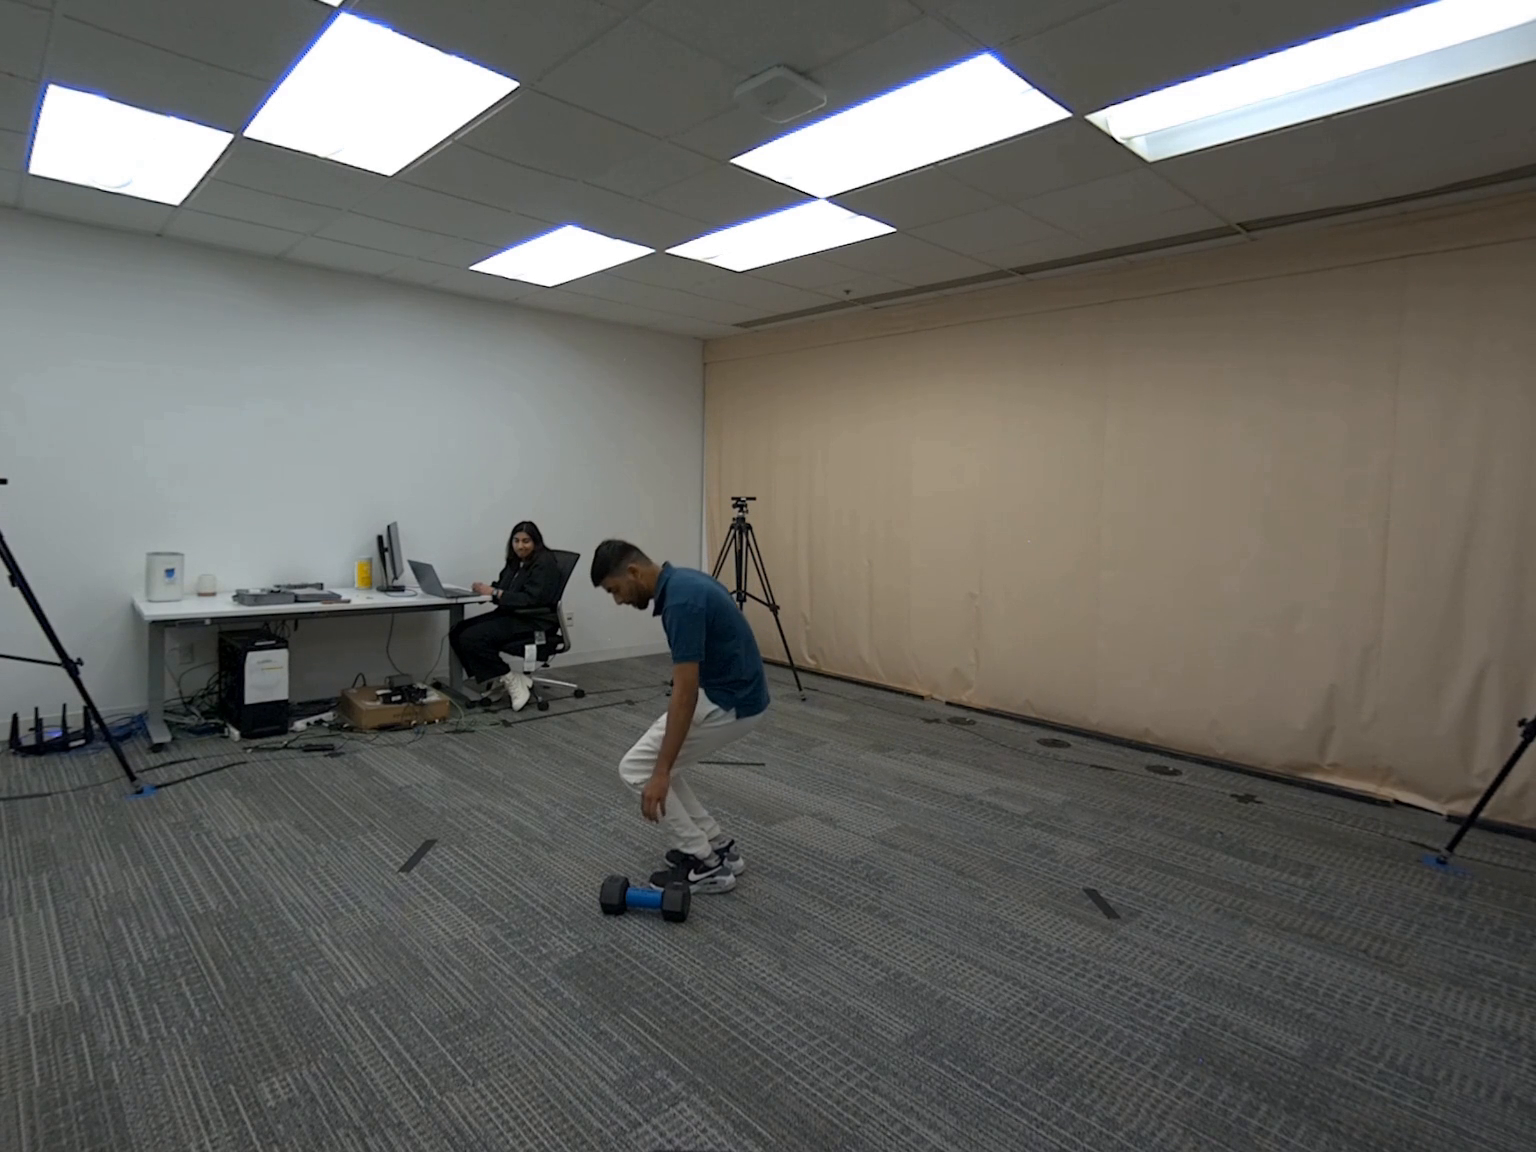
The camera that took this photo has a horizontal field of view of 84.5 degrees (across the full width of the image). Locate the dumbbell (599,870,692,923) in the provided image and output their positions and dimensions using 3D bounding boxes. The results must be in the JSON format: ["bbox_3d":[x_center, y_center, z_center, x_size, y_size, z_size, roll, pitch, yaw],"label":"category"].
[{"bbox_3d":[-0.418,1.077,2.801,0.296,0.125,0.106,2,-25,11],"label":"dumbbell"}]
